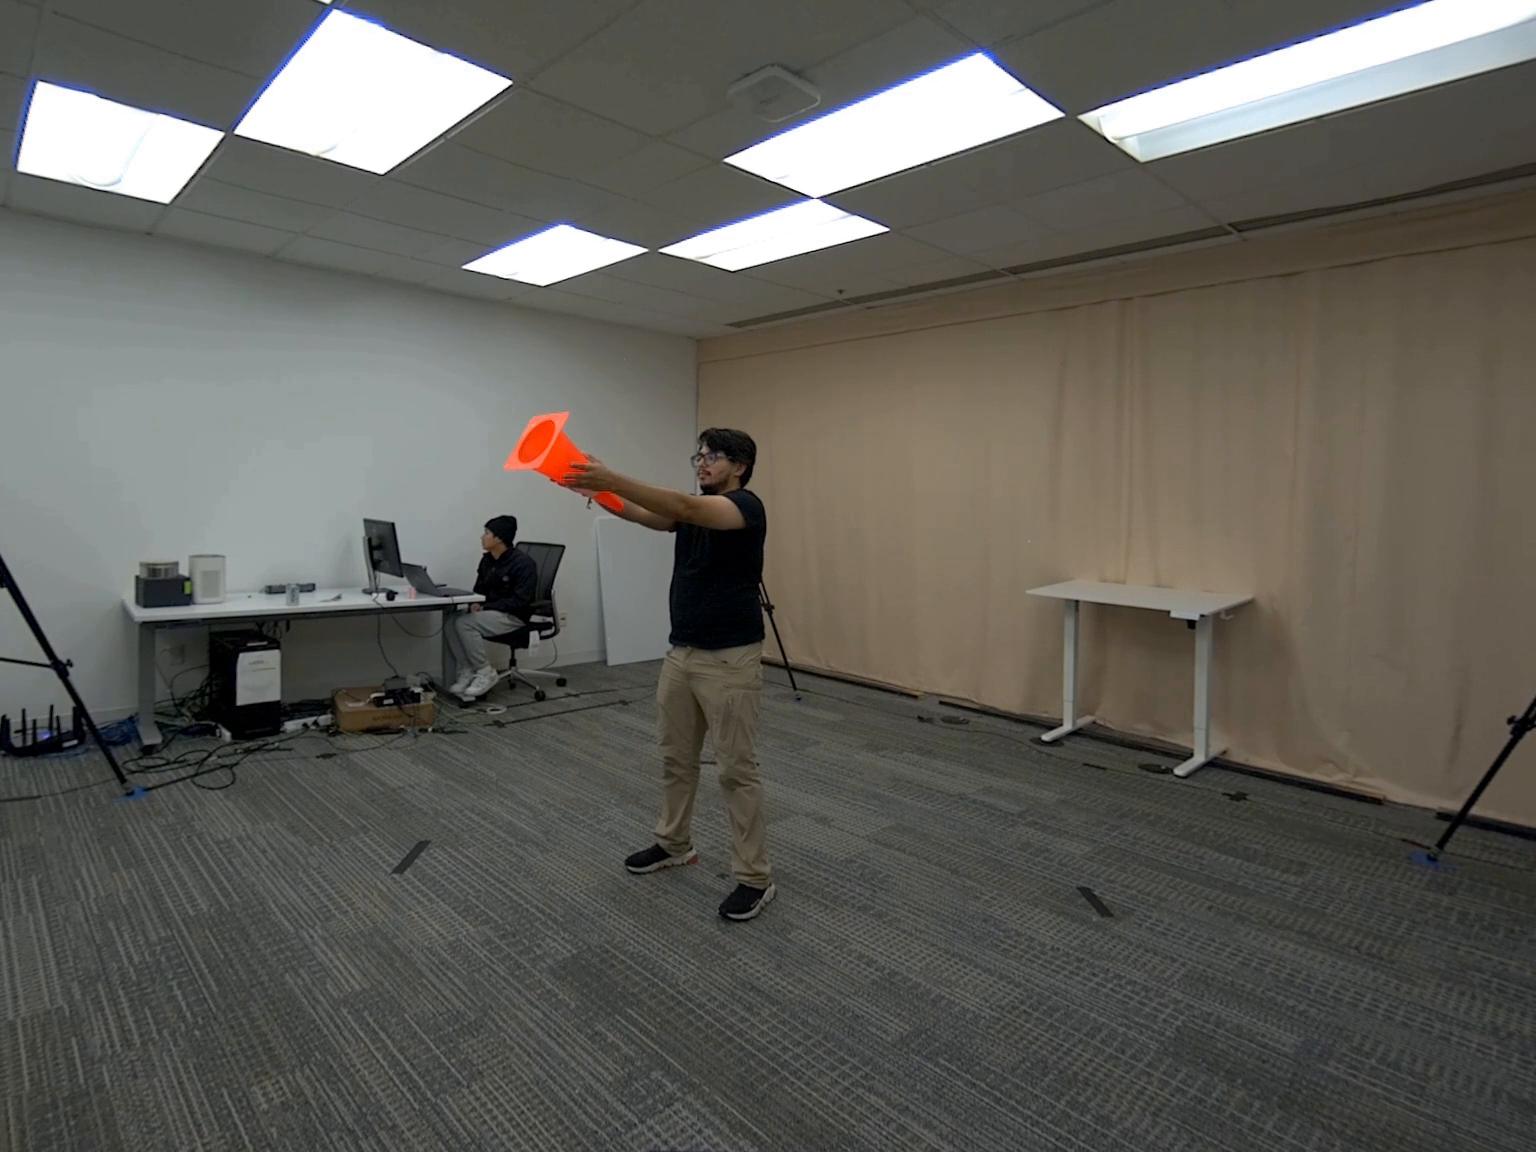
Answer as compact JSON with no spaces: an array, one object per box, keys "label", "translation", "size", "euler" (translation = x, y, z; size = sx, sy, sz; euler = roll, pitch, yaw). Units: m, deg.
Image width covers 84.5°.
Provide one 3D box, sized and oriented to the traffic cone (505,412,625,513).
[{"label":"traffic cone","translation":[-0.599,-0.308,2.616],"size":[0.210,0.205,0.371],"euler":[2,-28,41]}]
